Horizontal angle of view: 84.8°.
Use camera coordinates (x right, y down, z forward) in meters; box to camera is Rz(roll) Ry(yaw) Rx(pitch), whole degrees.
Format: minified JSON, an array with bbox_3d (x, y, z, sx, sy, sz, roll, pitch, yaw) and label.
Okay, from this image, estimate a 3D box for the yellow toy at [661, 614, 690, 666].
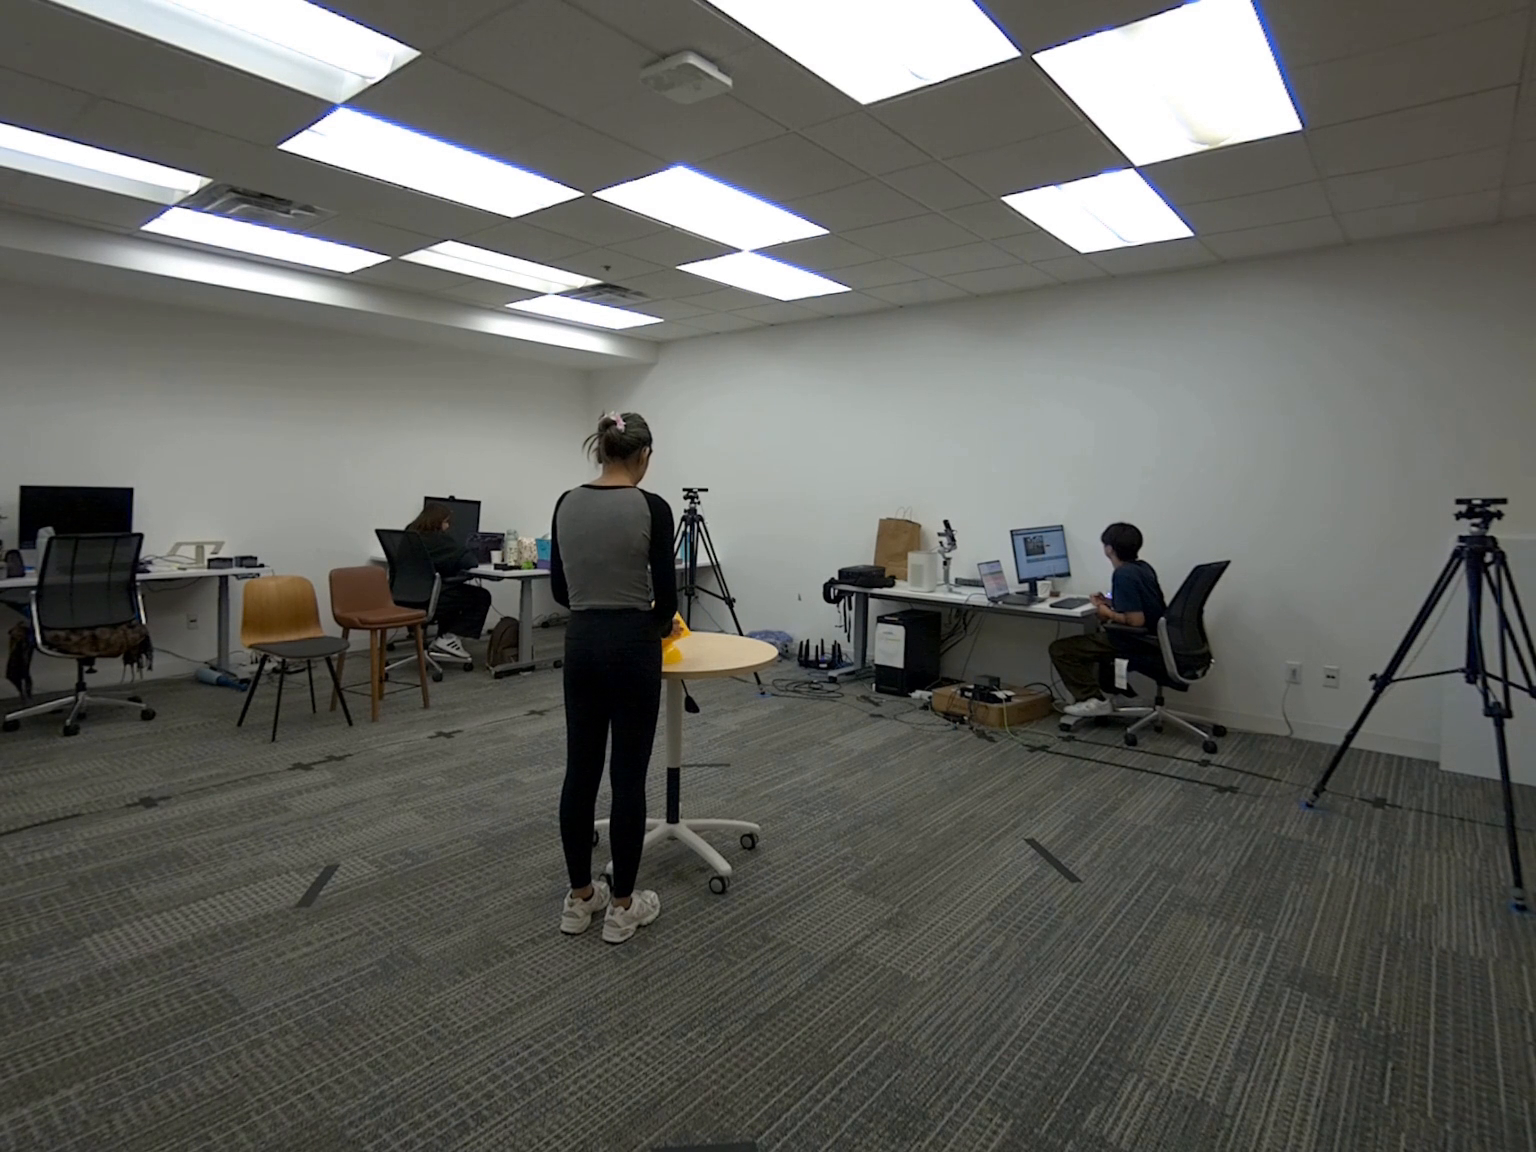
[{"bbox_3d":[-0.403,0.175,2.977,0.210,0.230,0.189,3,6,25],"label":"yellow toy"}]
